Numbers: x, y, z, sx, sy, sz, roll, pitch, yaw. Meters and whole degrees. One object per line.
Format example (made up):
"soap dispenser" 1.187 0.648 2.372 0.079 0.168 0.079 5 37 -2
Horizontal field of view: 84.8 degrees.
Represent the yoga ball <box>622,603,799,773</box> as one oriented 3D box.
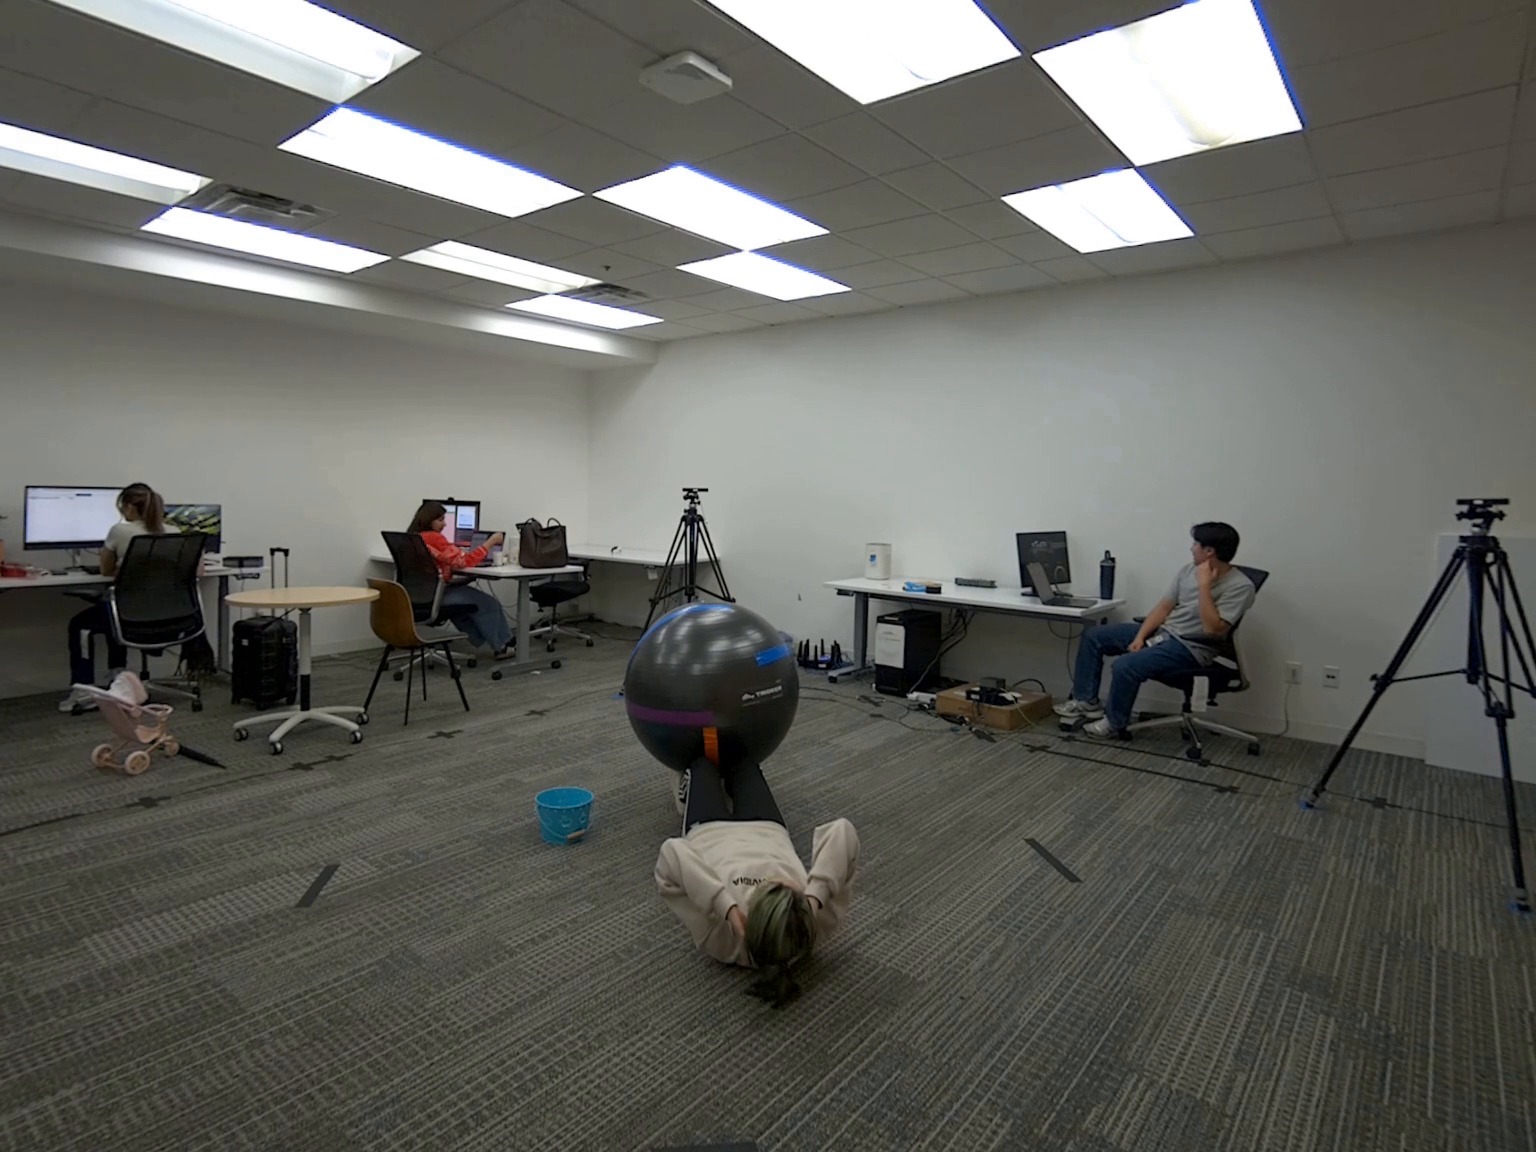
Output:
"yoga ball" -0.258 0.484 3.686 0.757 0.756 0.761 1 4 -2
